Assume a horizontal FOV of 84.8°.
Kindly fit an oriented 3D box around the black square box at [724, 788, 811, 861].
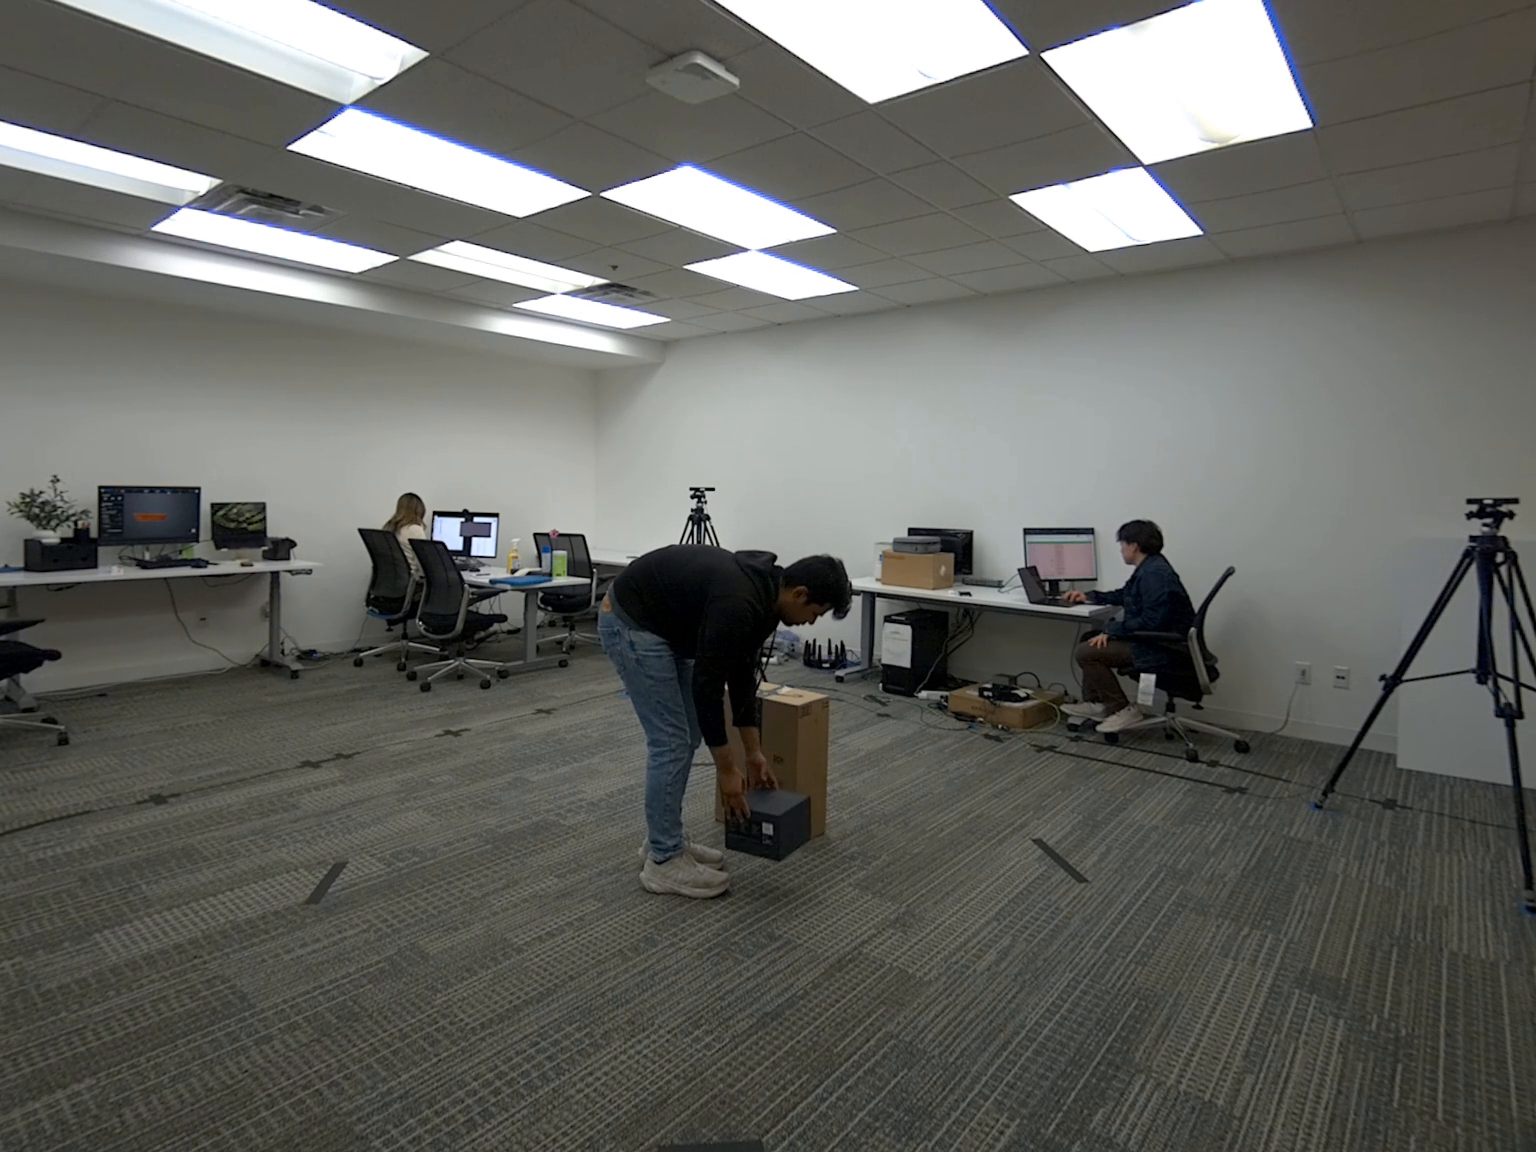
[{"bbox_3d":[-0.006,0.840,2.936,0.223,0.155,0.222,1,5,31],"label":"black square box"}]
